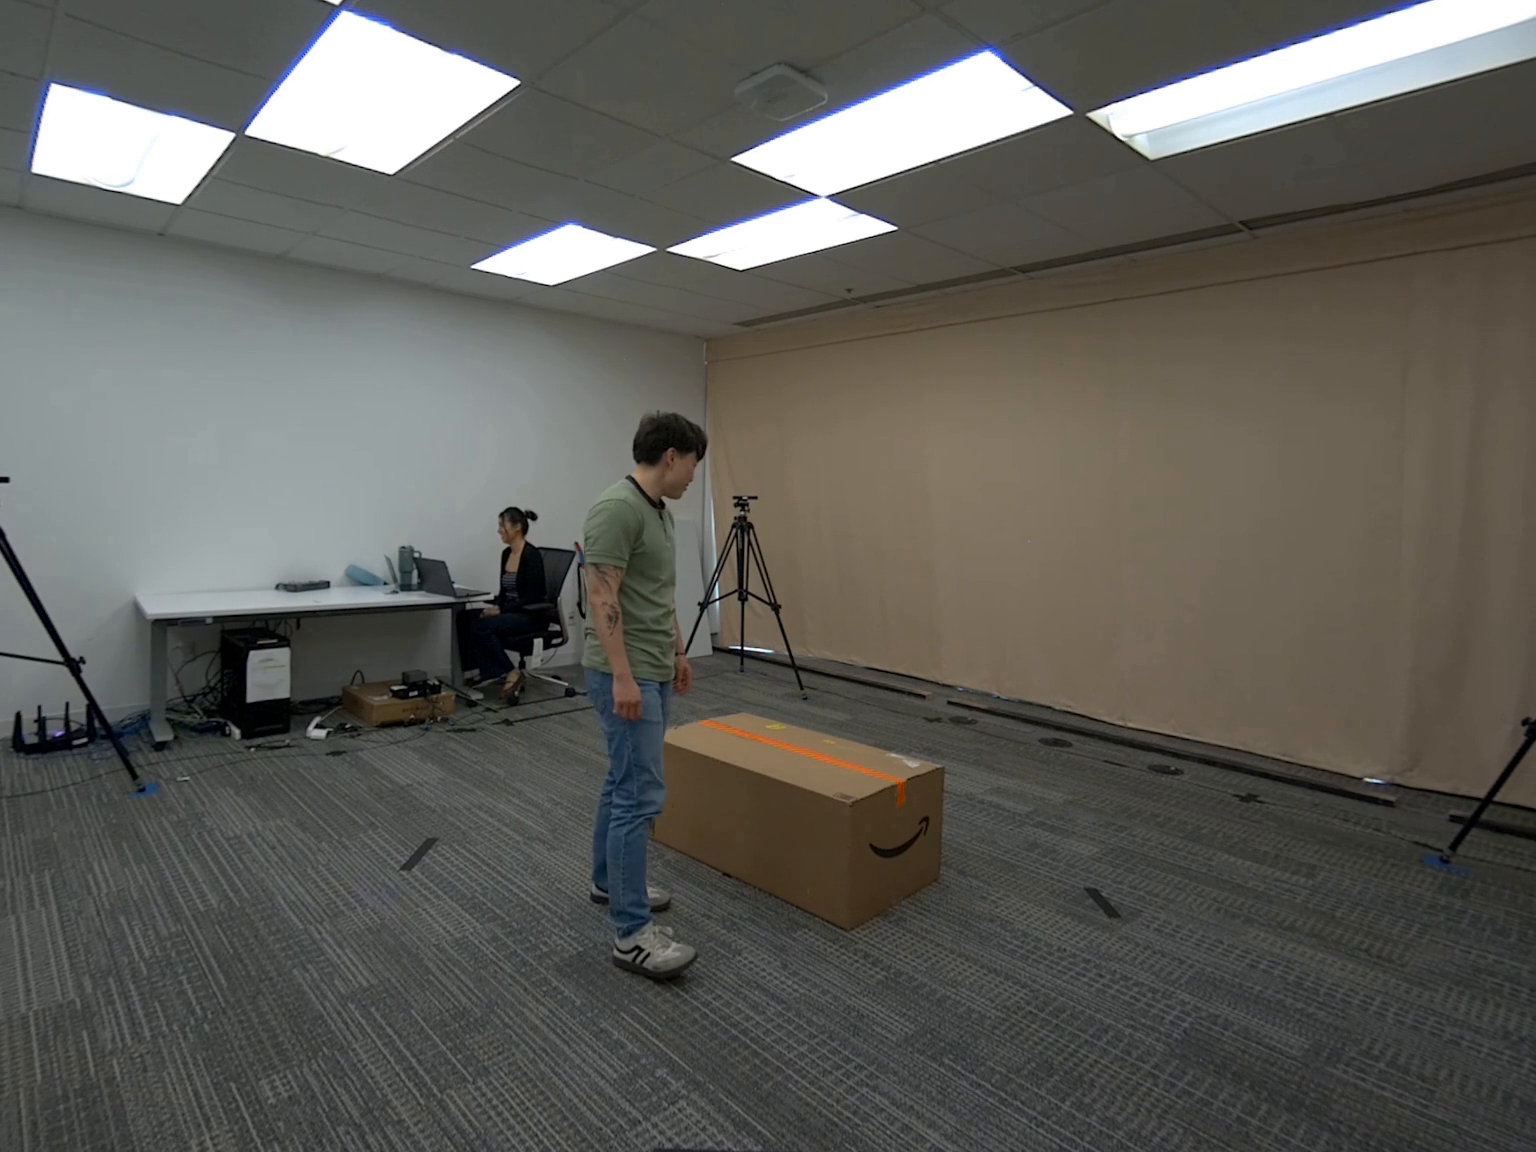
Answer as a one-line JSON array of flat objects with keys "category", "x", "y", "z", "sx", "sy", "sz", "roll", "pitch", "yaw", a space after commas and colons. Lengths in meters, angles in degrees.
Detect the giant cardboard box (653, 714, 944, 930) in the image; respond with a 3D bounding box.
[{"category": "giant cardboard box", "x": 0.073, "y": 0.880, "z": 3.260, "sx": 1.052, "sy": 0.425, "sz": 0.564, "roll": 6, "pitch": 6, "yaw": 44}]
